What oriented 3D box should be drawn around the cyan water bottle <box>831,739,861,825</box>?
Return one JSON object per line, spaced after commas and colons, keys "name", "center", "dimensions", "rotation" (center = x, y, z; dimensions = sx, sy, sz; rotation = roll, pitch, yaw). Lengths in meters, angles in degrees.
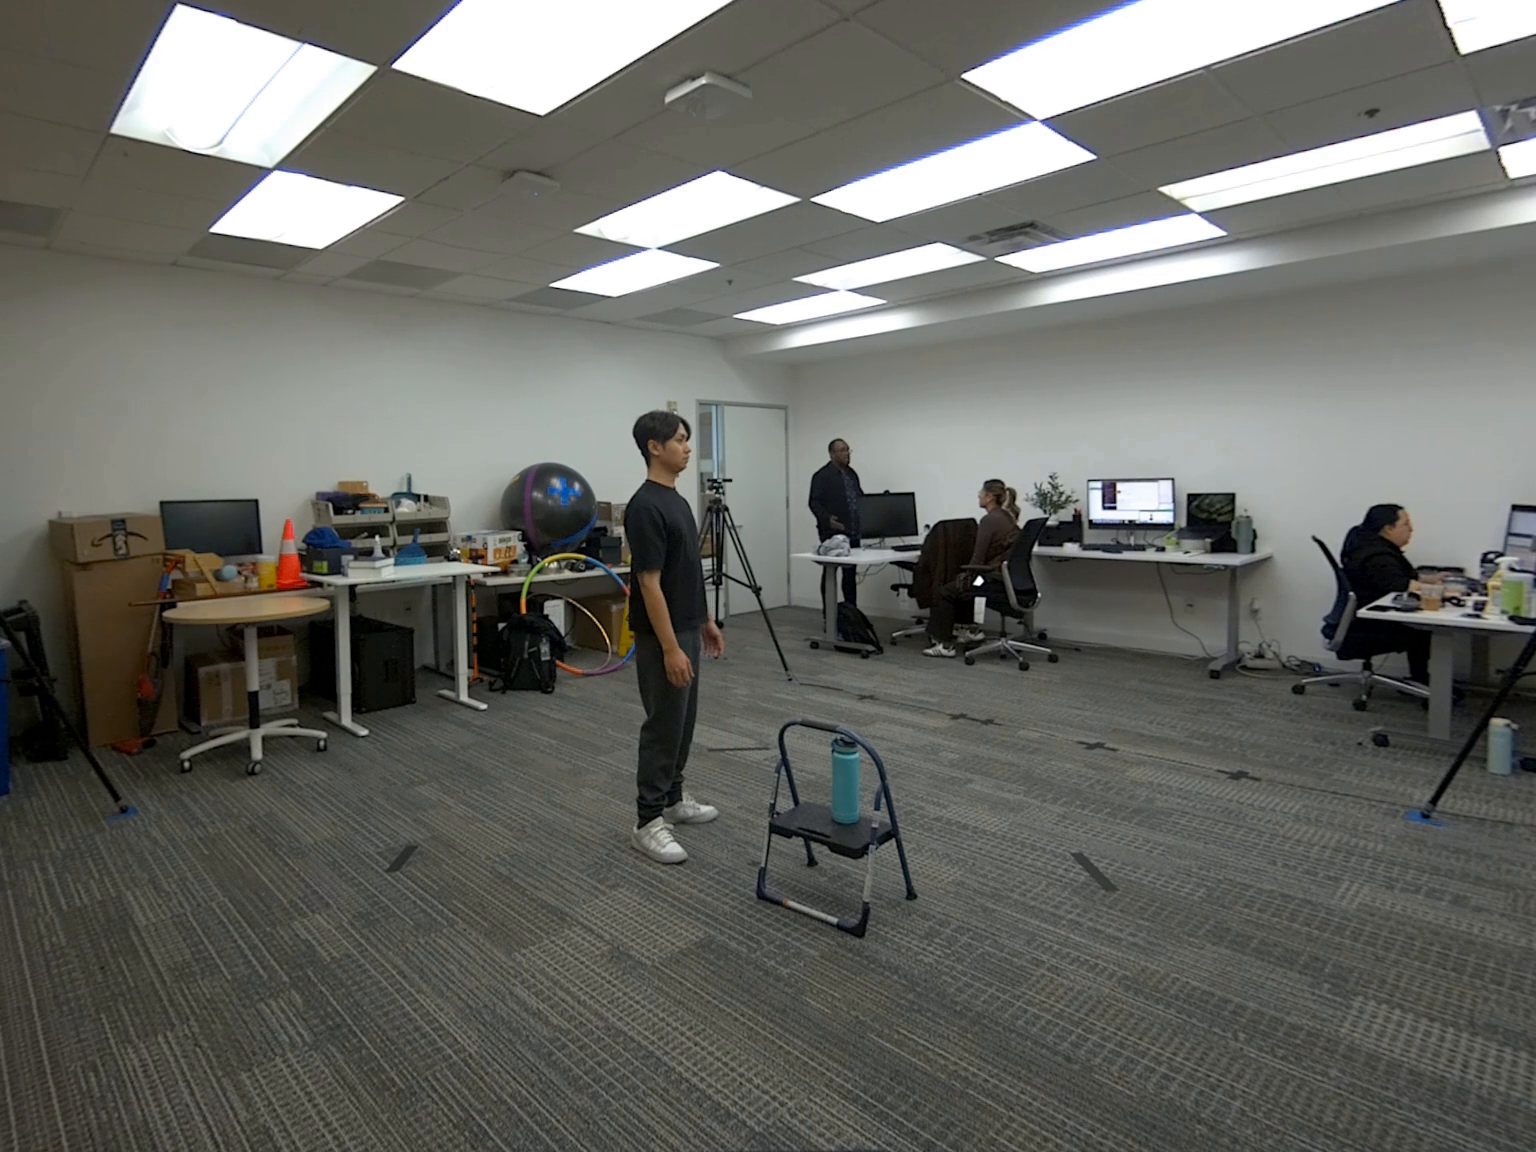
{"name": "cyan water bottle", "center": [0.263, 0.673, 2.832], "dimensions": [0.092, 0.282, 0.093], "rotation": [1, 5, -2]}
